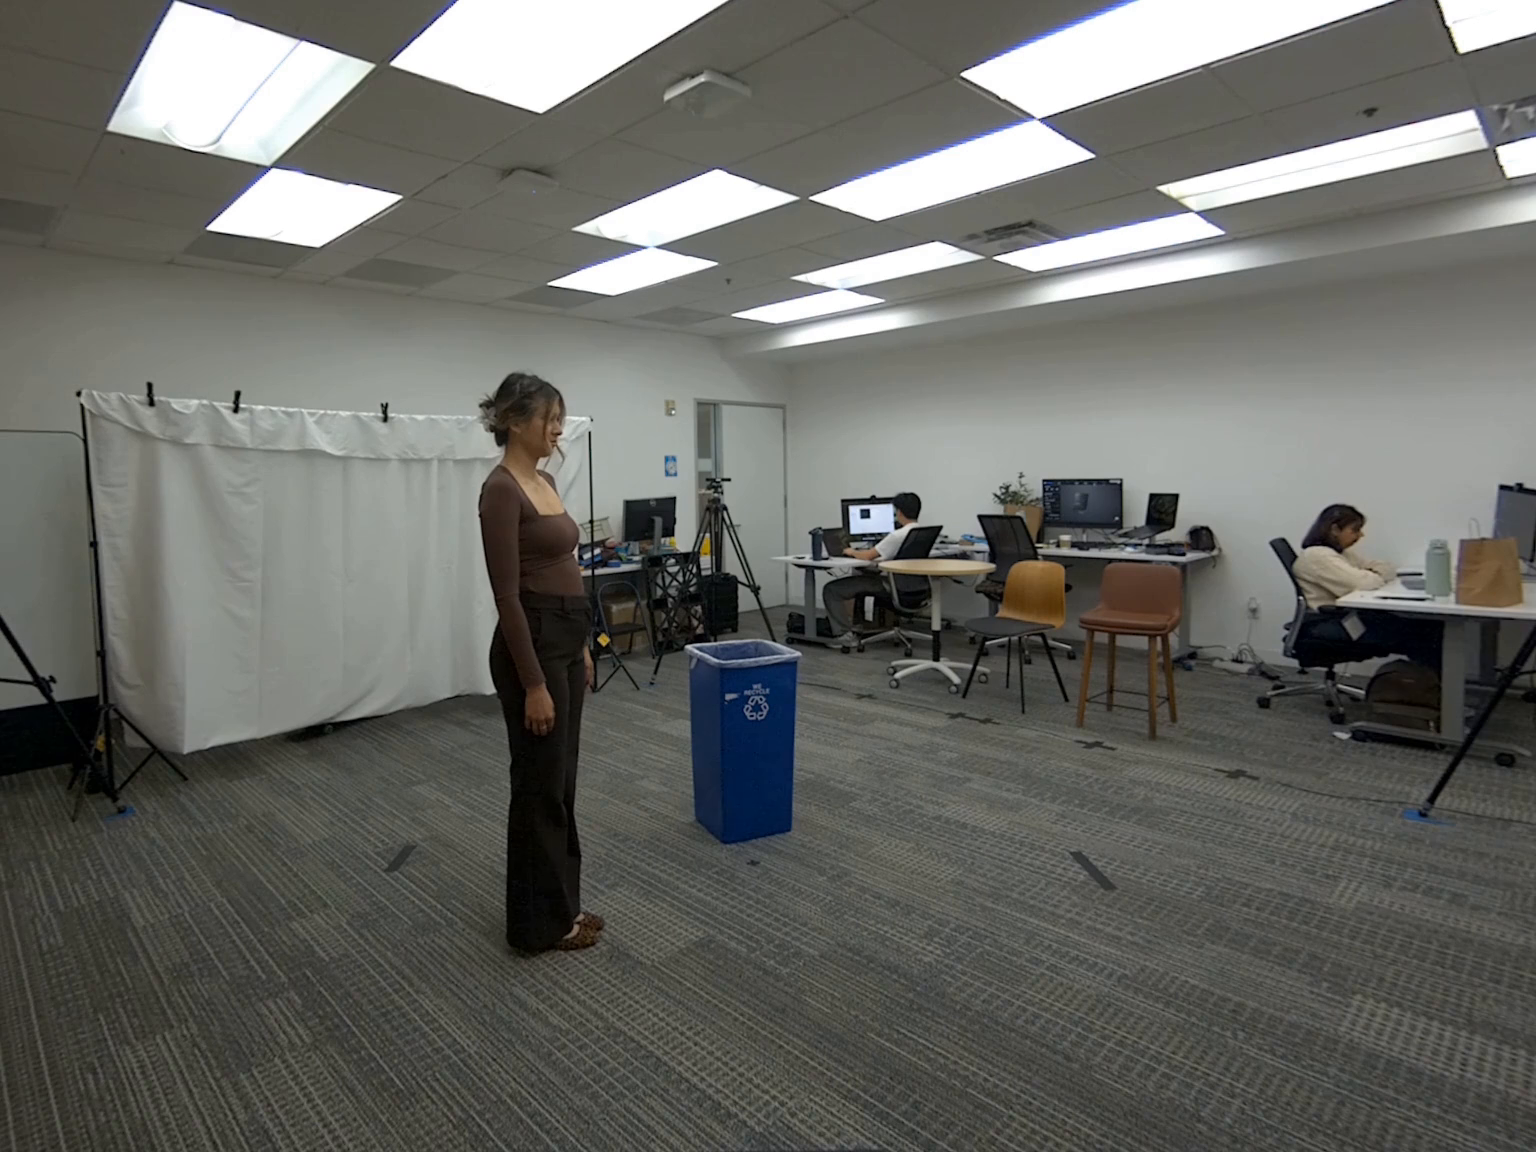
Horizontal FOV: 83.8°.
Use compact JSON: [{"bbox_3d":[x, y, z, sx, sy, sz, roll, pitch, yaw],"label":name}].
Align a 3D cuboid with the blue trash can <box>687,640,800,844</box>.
[{"bbox_3d":[-0.099,0.646,3.439,0.366,0.711,0.388,-2,5,-27],"label":"blue trash can"}]
